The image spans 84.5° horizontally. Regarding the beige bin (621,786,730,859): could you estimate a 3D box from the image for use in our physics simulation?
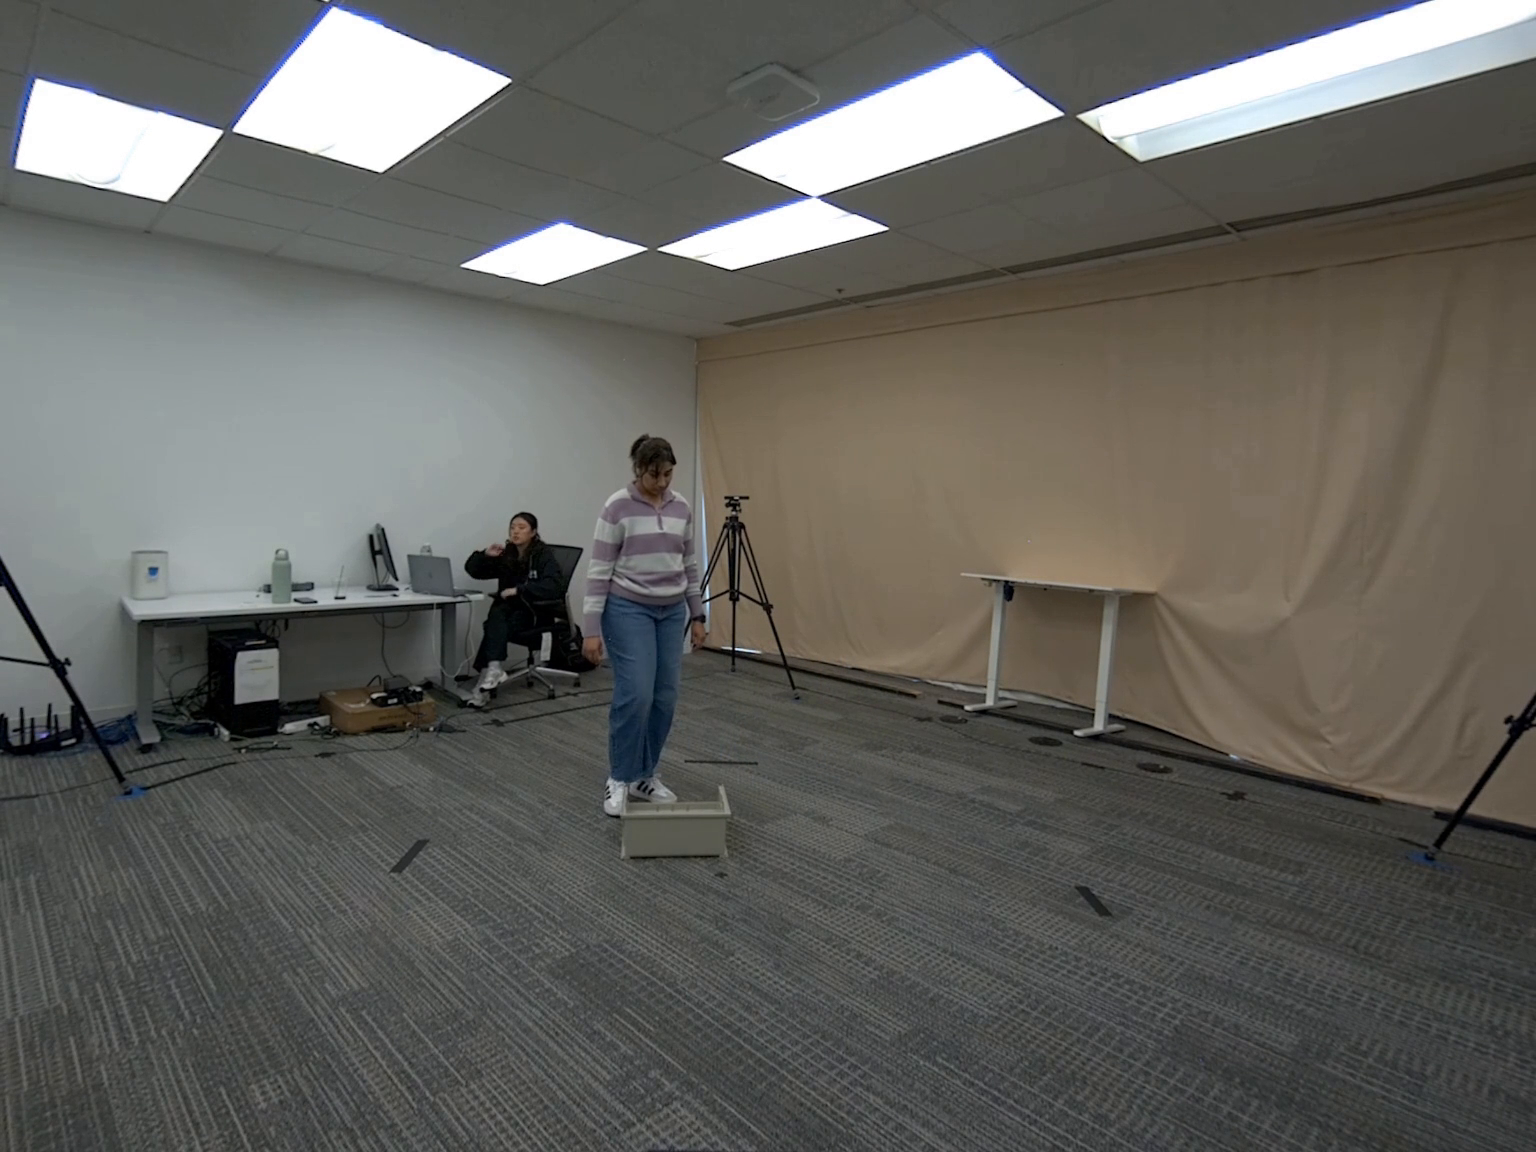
[{"bbox_3d":[-0.389,0.983,3.405,0.420,0.188,0.380,2,5,-7],"label":"beige bin"}]
